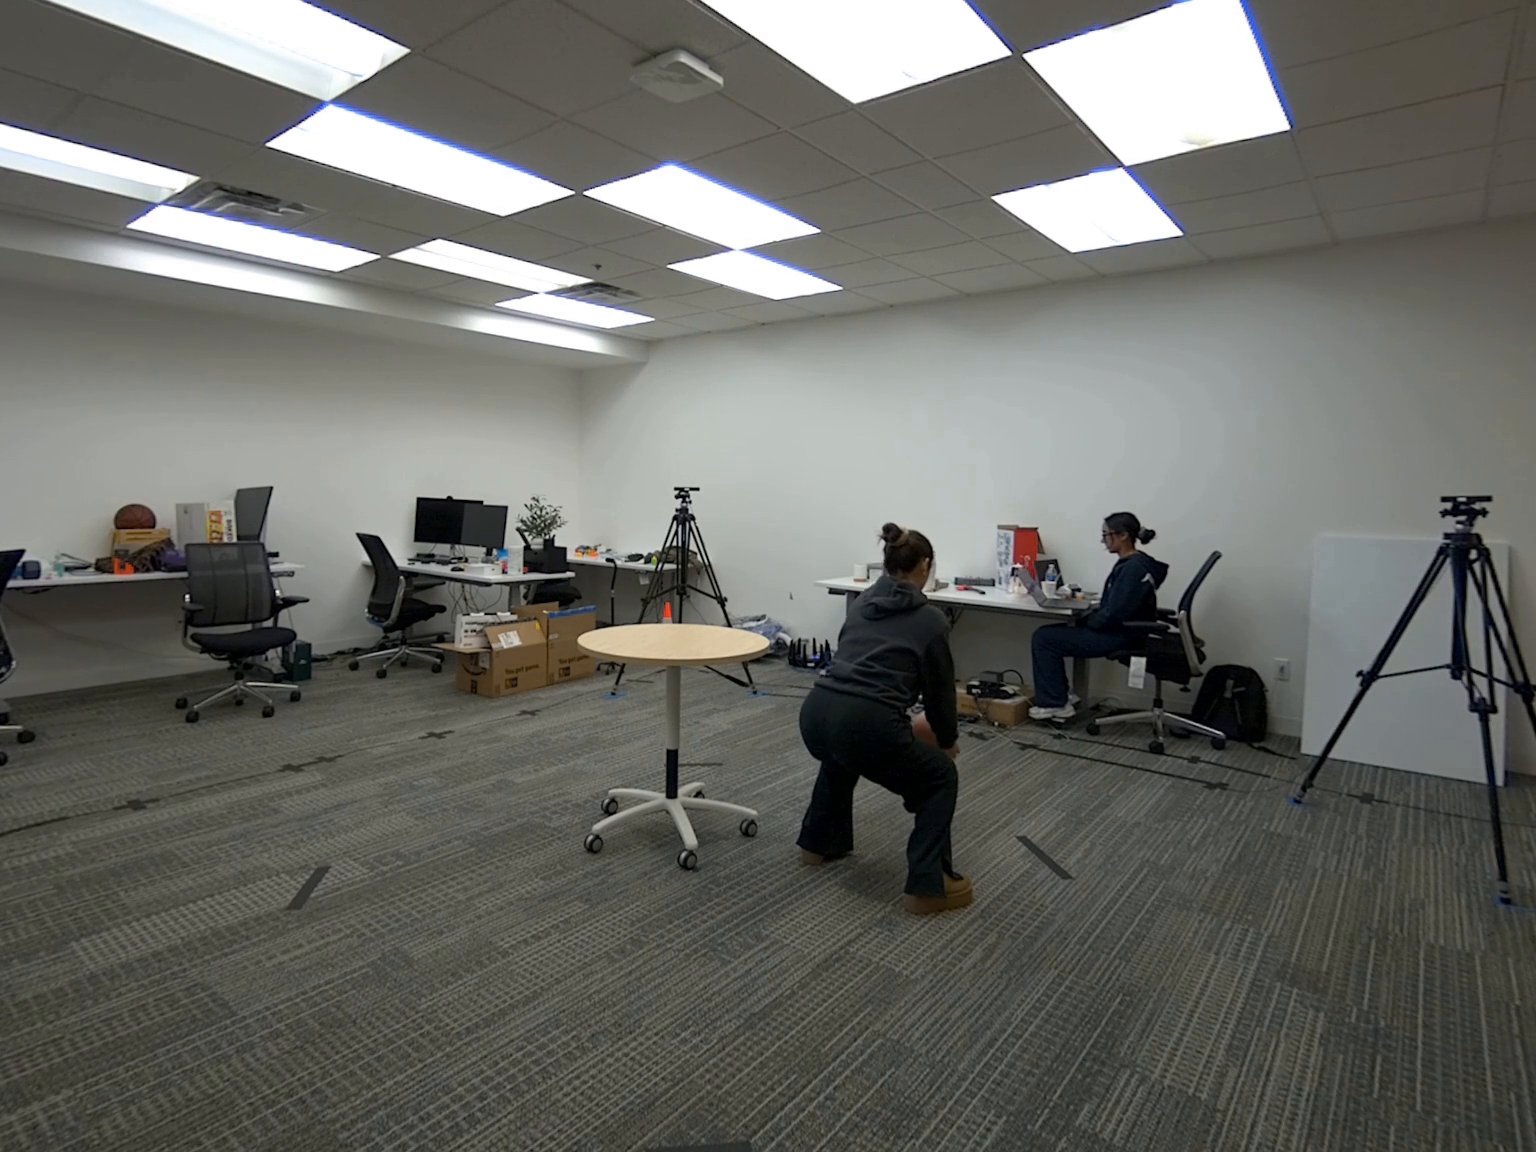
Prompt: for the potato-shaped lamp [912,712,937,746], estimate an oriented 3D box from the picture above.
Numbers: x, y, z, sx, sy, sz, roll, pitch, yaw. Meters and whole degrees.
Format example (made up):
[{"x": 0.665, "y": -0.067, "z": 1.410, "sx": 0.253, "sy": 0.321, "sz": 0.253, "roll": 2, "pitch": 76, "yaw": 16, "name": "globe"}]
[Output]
[{"x": 0.638, "y": 0.603, "z": 3.283, "sx": 0.170, "sy": 0.197, "sz": 0.166, "roll": 7, "pitch": 6, "yaw": 37, "name": "potato-shaped lamp"}]
